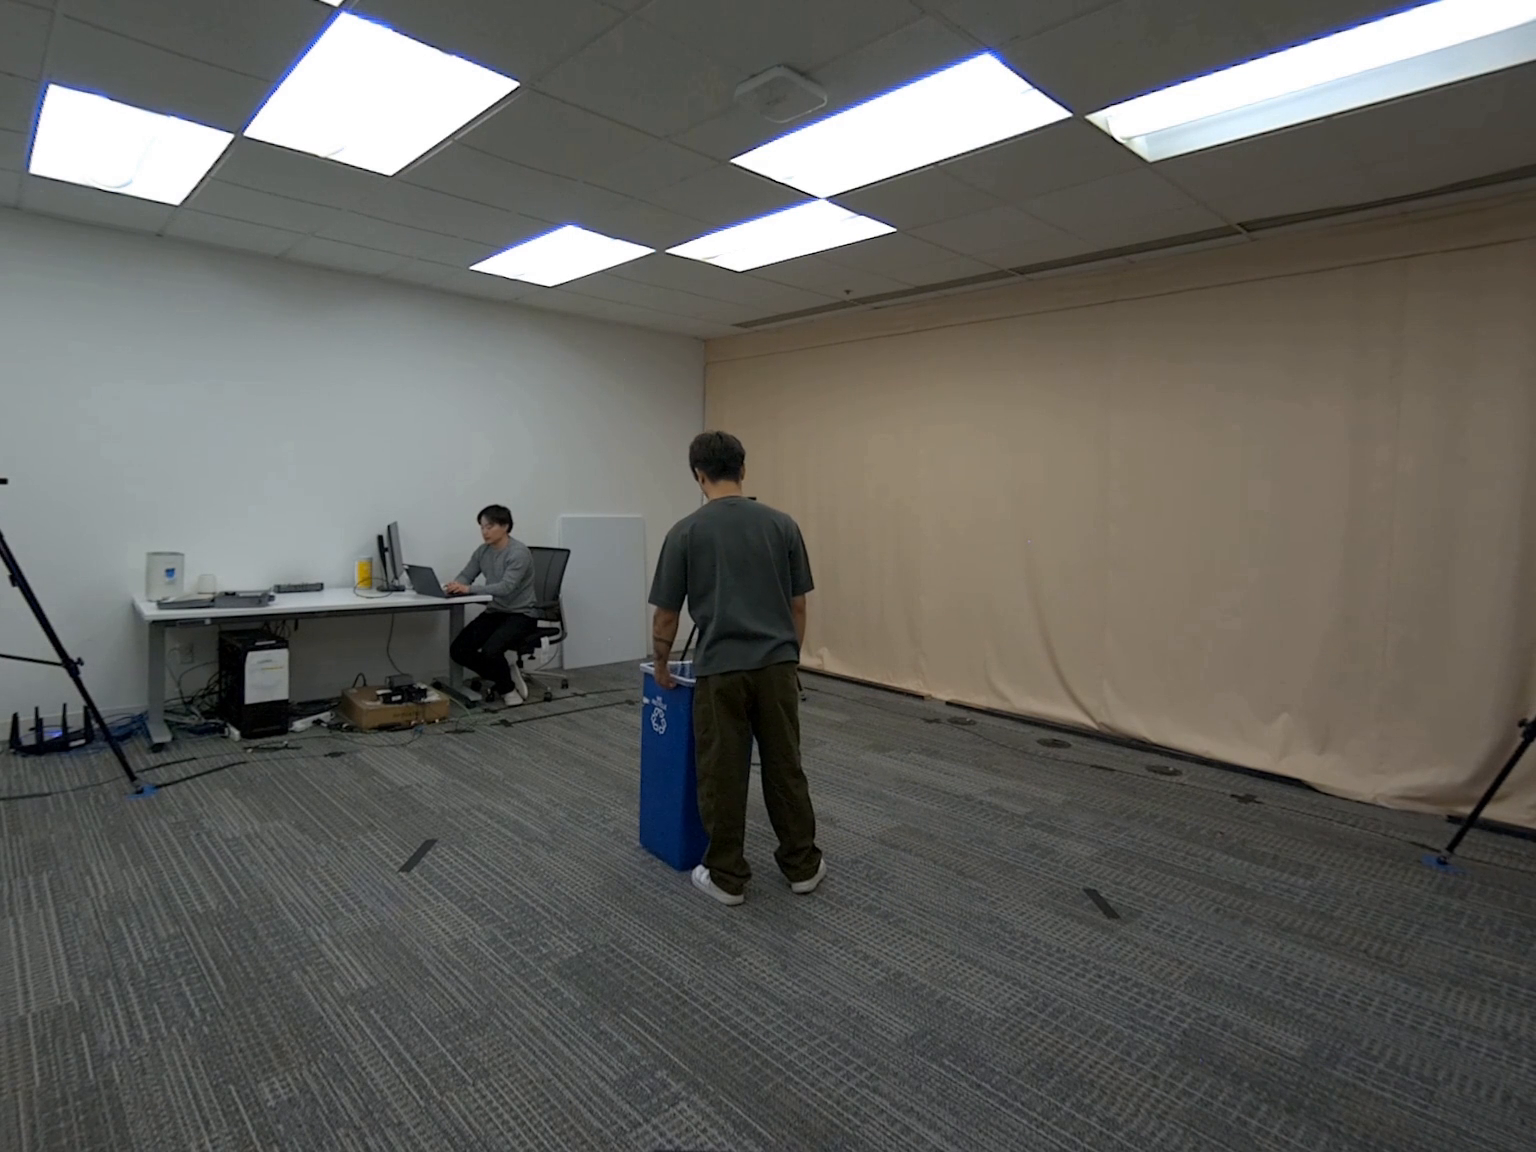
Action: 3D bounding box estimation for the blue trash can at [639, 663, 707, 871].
[{"bbox_3d":[-0.292,0.721,3.313,0.365,0.713,0.388,3,2,-39],"label":"blue trash can"}]
